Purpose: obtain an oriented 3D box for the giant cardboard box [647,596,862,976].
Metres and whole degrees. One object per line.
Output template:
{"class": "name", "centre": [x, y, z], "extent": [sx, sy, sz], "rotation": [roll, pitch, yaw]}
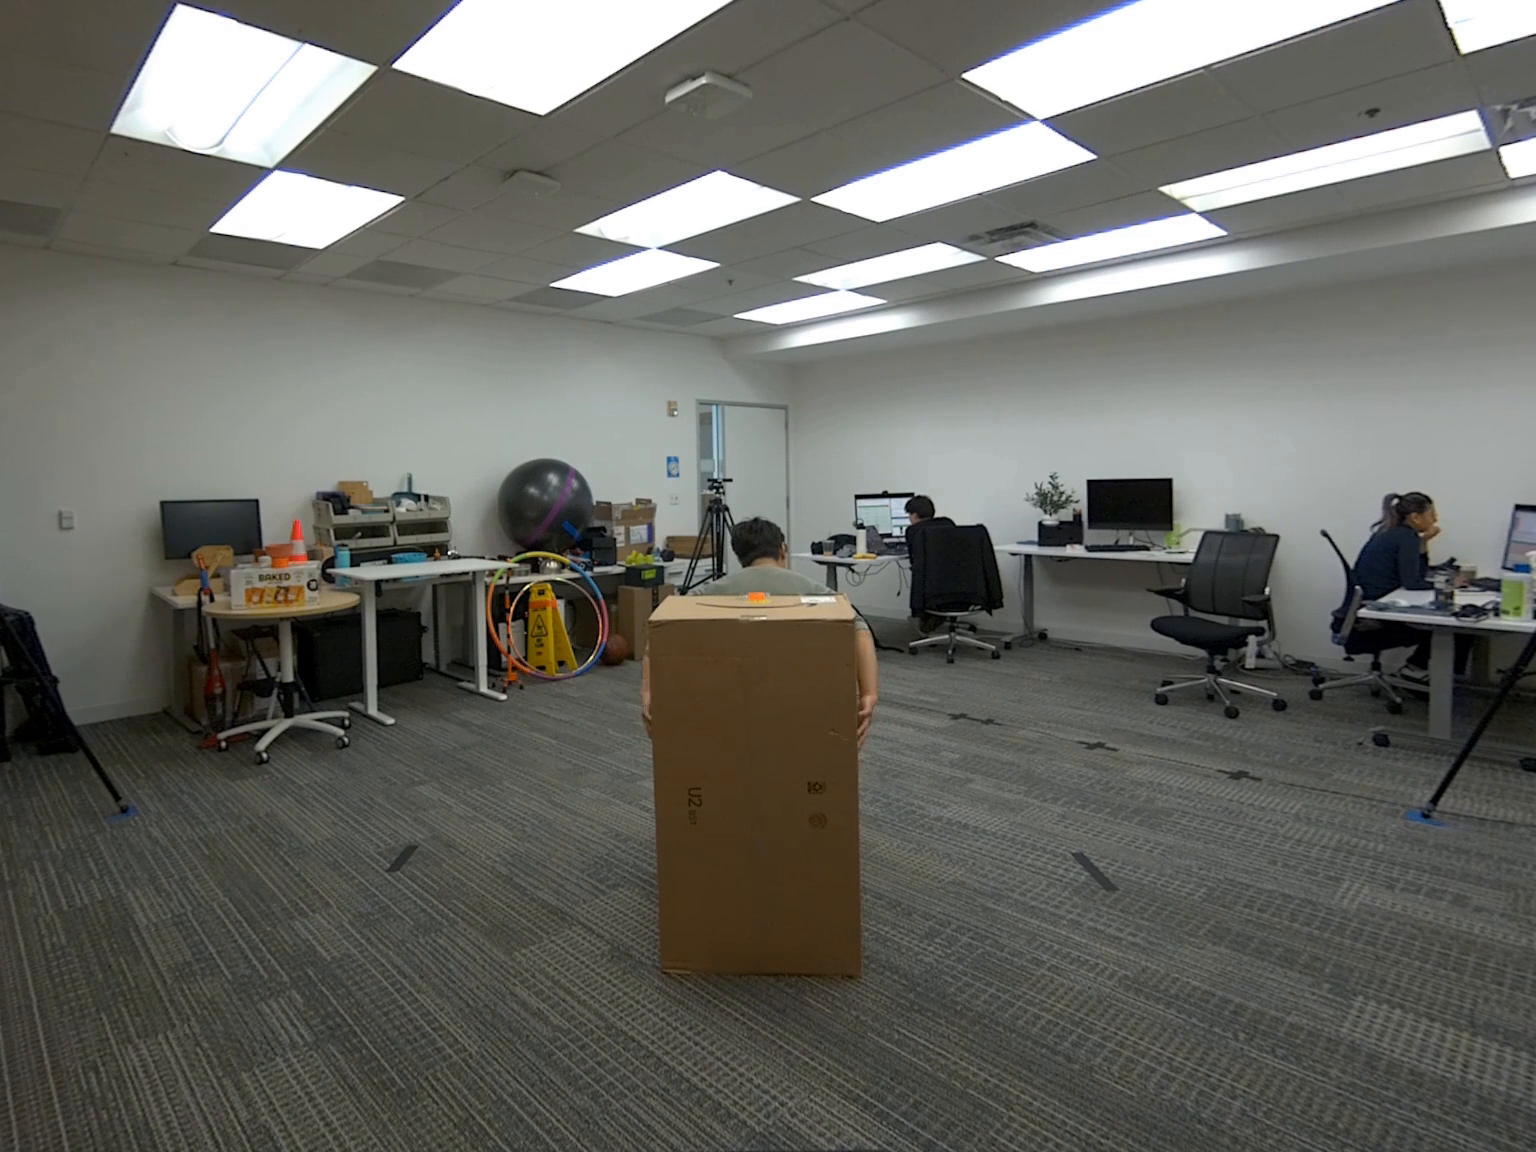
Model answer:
{"class": "giant cardboard box", "centre": [-0.025, 0.597, 2.570], "extent": [0.580, 1.020, 0.427], "rotation": [-1, 6, 3]}
